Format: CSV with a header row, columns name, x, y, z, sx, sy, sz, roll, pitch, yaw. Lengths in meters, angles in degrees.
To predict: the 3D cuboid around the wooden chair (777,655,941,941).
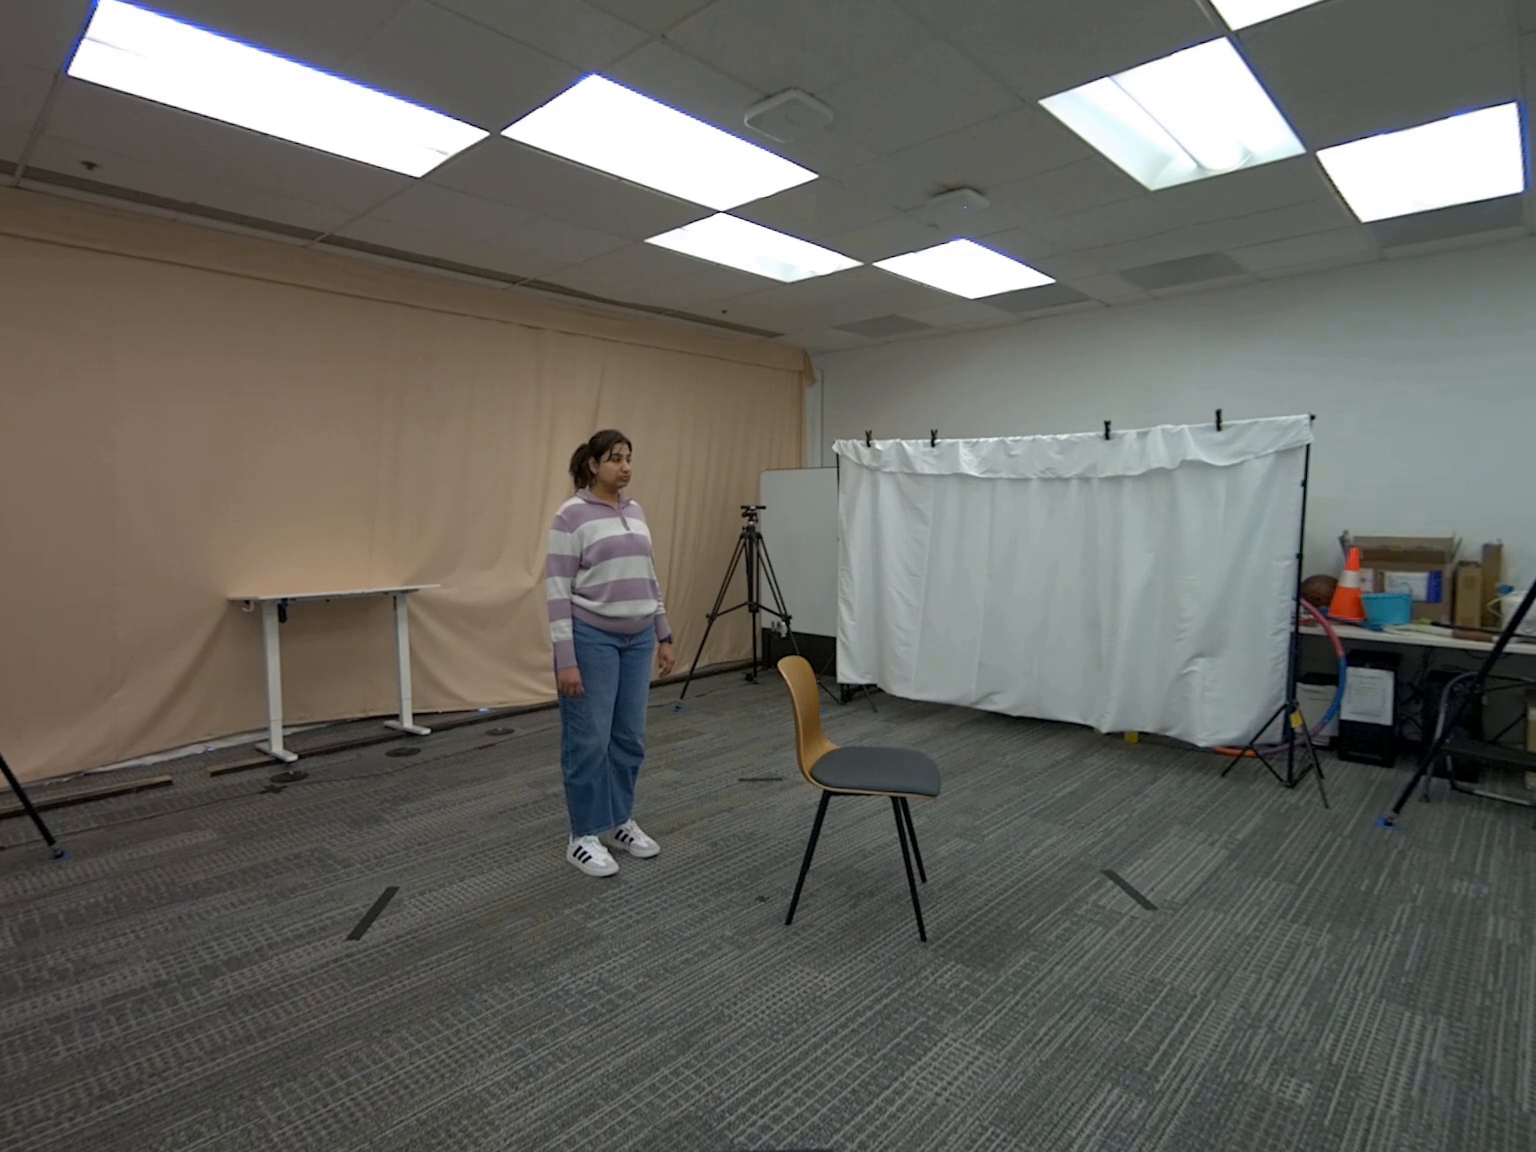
name,x,y,z,sx,sy,sz,roll,pitch,yaw
wooden chair,0.333,0.720,2.918,0.531,0.876,0.472,-3,2,13
